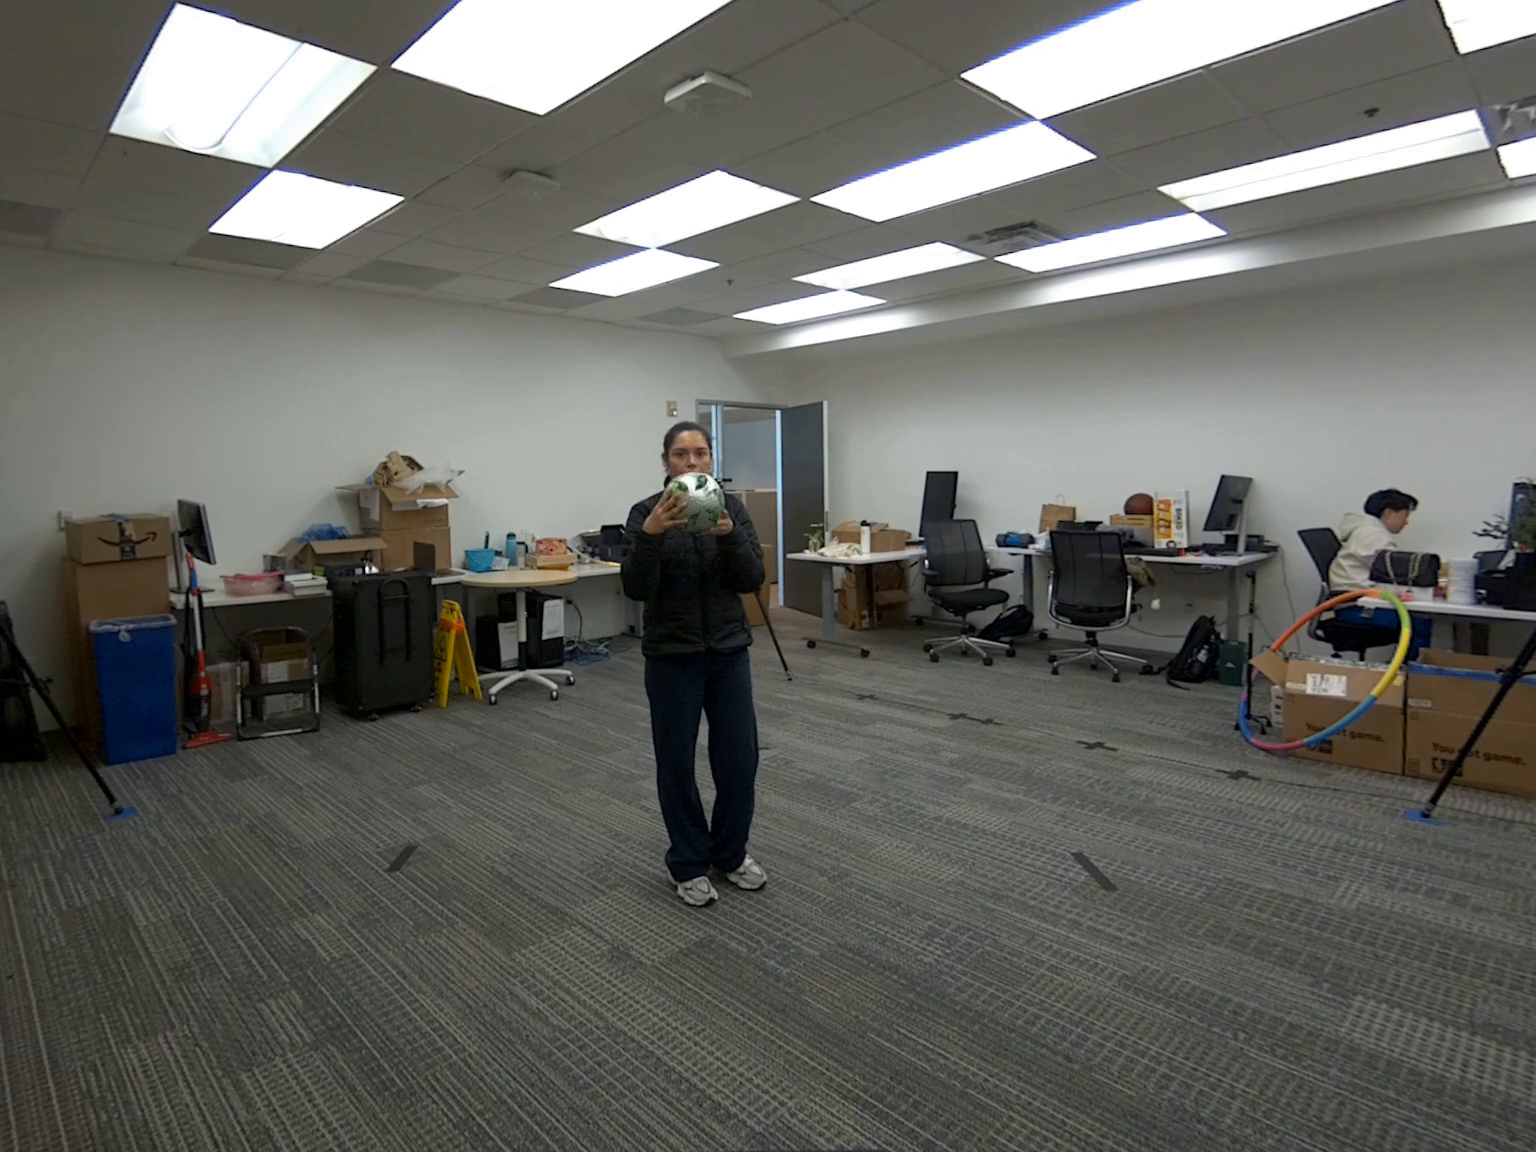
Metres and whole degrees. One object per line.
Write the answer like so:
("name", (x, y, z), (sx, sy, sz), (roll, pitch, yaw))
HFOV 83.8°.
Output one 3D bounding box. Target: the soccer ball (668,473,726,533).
("soccer ball", (-0.226, -0.223, 2.580), (0.187, 0.187, 0.188), (-1, 5, -2))
